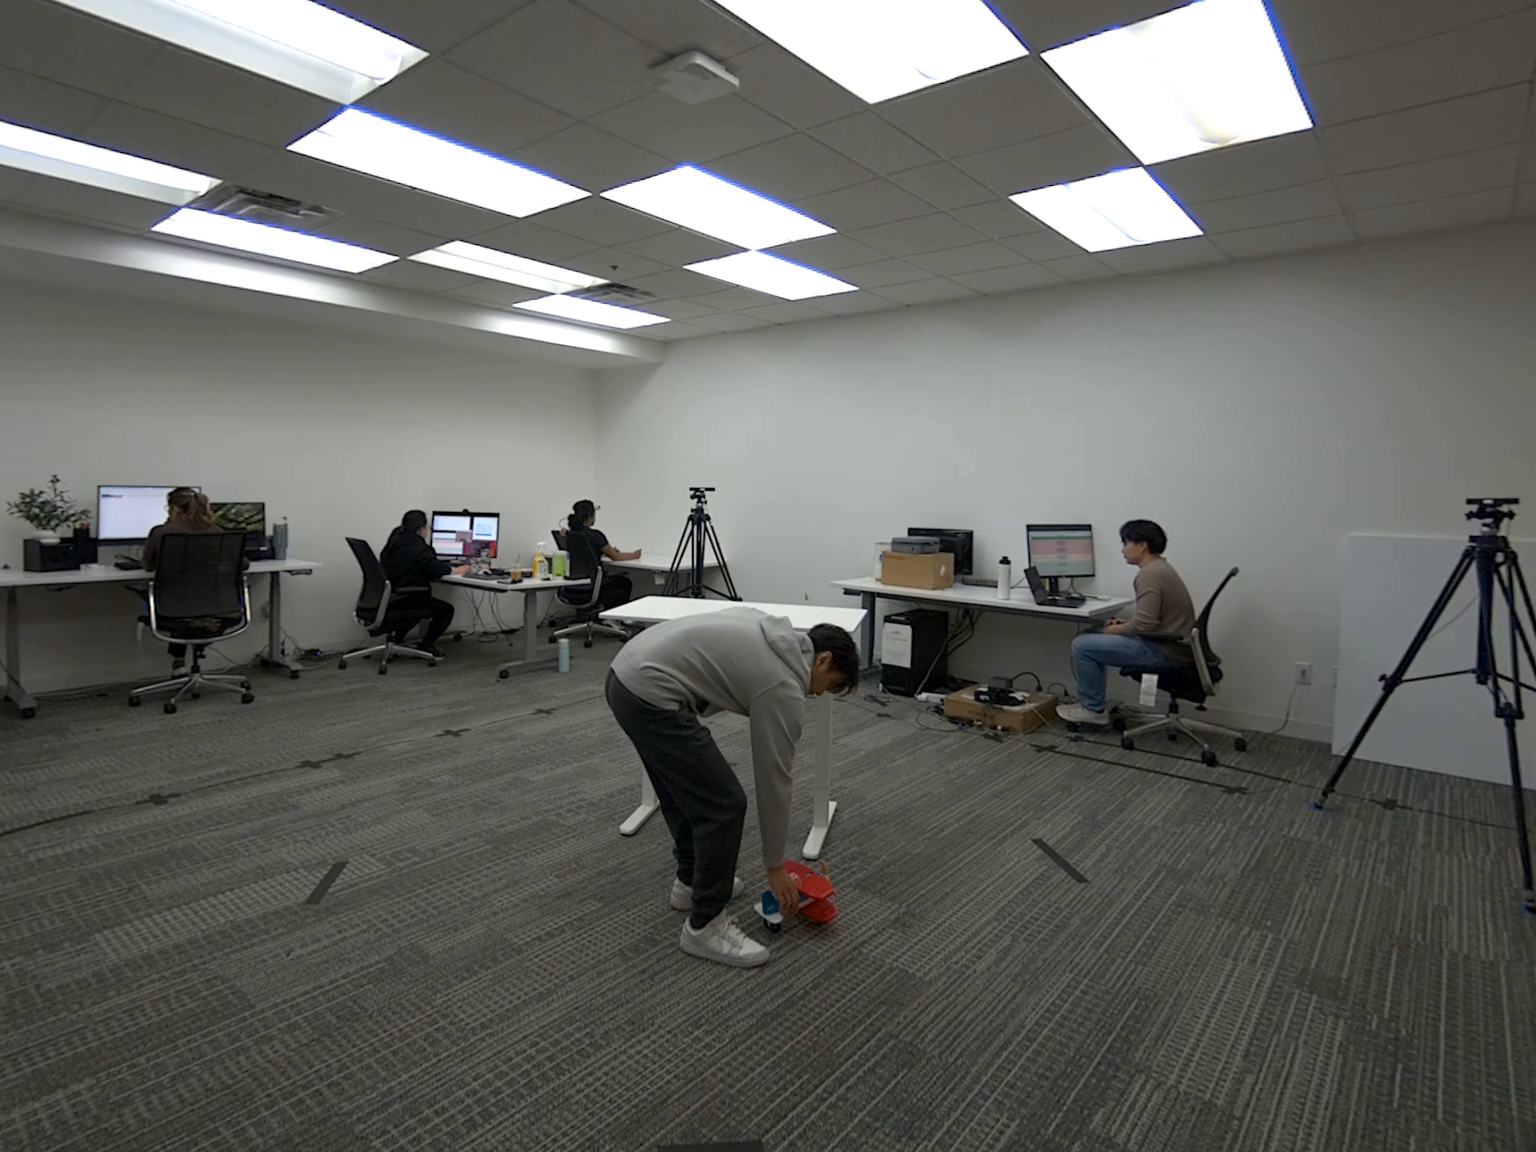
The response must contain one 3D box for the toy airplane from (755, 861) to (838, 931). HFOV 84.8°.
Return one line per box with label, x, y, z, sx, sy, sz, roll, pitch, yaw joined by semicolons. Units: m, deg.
toy airplane;0.095;1.037;2.717;0.259;0.156;0.252;5;6;30
